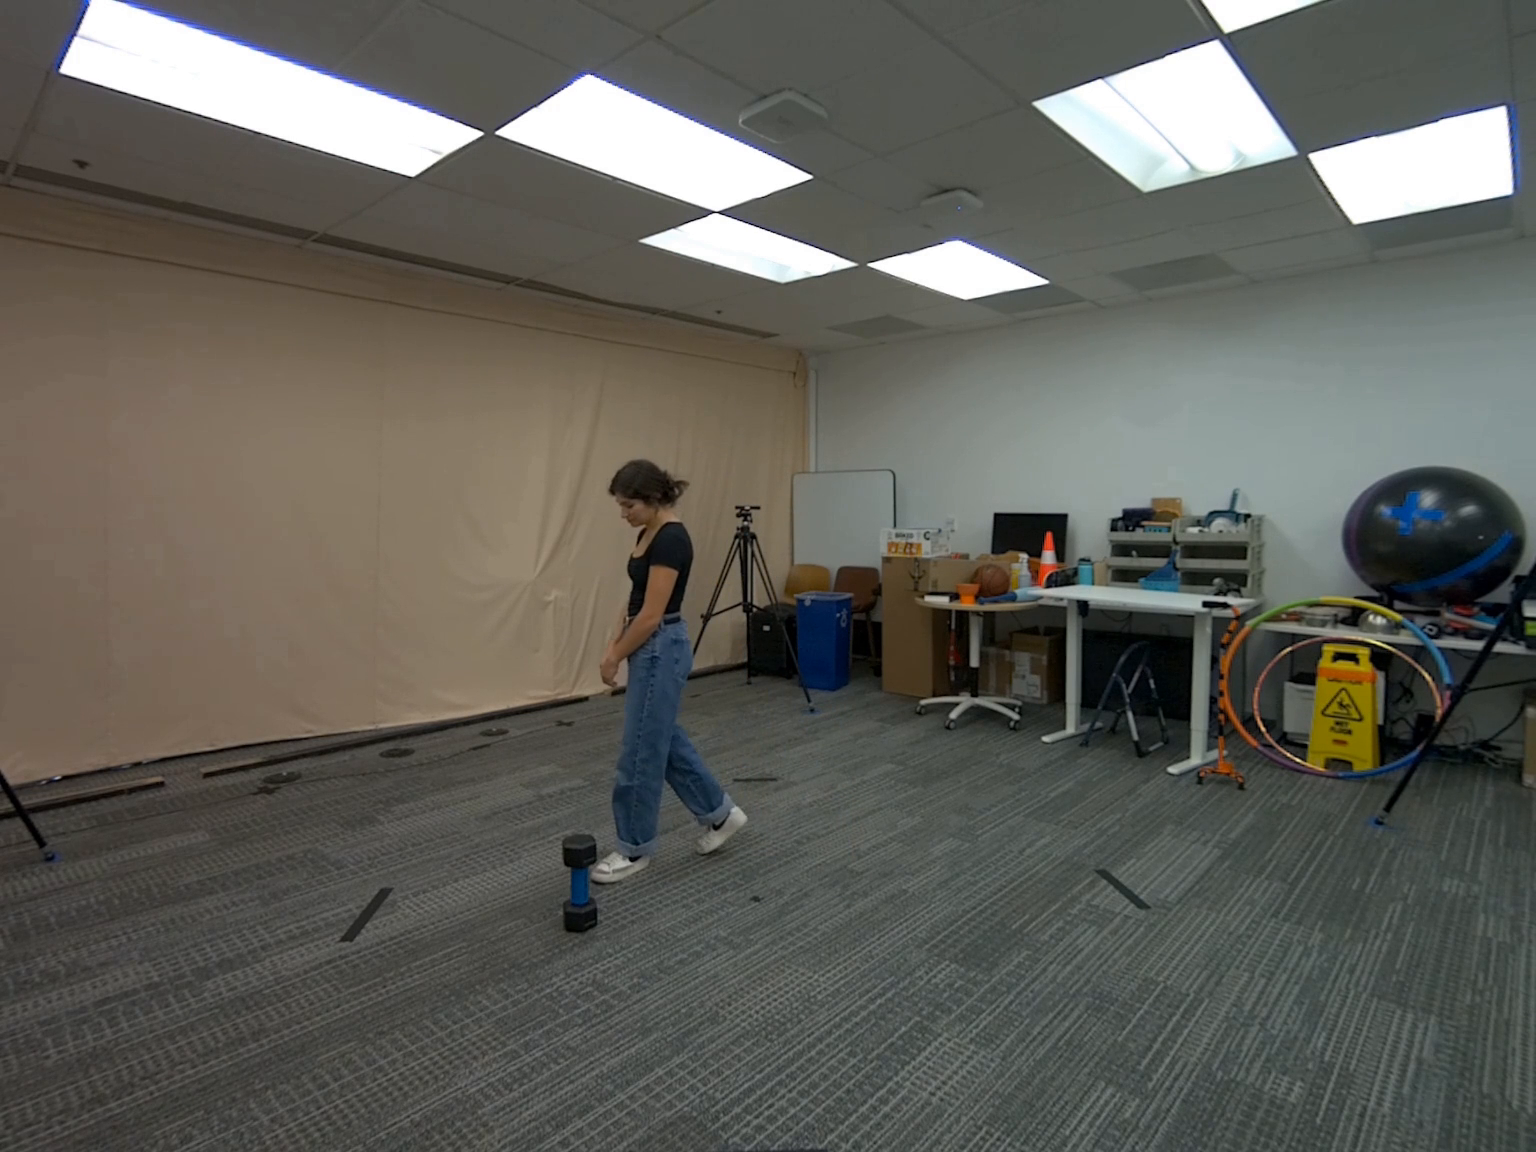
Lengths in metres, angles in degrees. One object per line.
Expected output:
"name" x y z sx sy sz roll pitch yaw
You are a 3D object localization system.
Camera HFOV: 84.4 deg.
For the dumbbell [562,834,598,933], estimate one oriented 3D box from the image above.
"dumbbell" -0.624 1.015 2.796 0.106 0.293 0.125 0 3 -19
